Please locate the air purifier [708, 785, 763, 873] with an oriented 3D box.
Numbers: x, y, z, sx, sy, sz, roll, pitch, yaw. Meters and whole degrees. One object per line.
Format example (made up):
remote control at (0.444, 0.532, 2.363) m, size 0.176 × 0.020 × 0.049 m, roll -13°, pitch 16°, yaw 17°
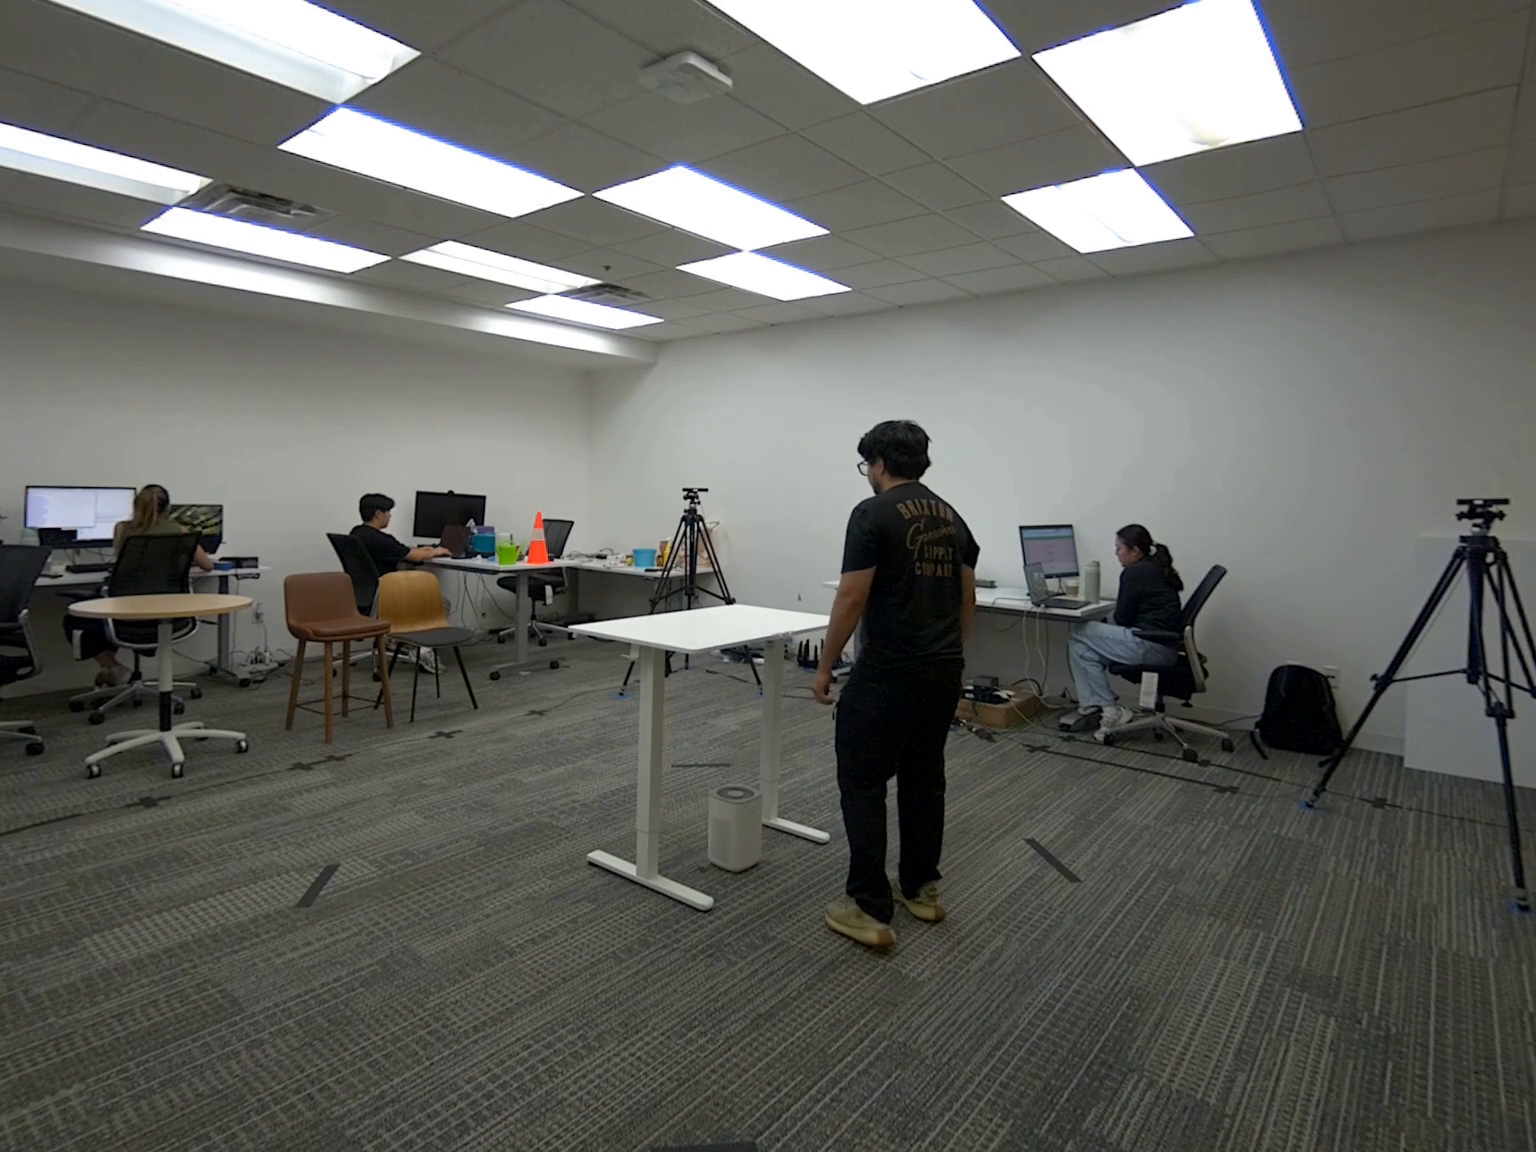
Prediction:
air purifier at (-0.131, 0.929, 3.160) m, size 0.177 × 0.265 × 0.166 m, roll 3°, pitch 4°, yaw 38°
